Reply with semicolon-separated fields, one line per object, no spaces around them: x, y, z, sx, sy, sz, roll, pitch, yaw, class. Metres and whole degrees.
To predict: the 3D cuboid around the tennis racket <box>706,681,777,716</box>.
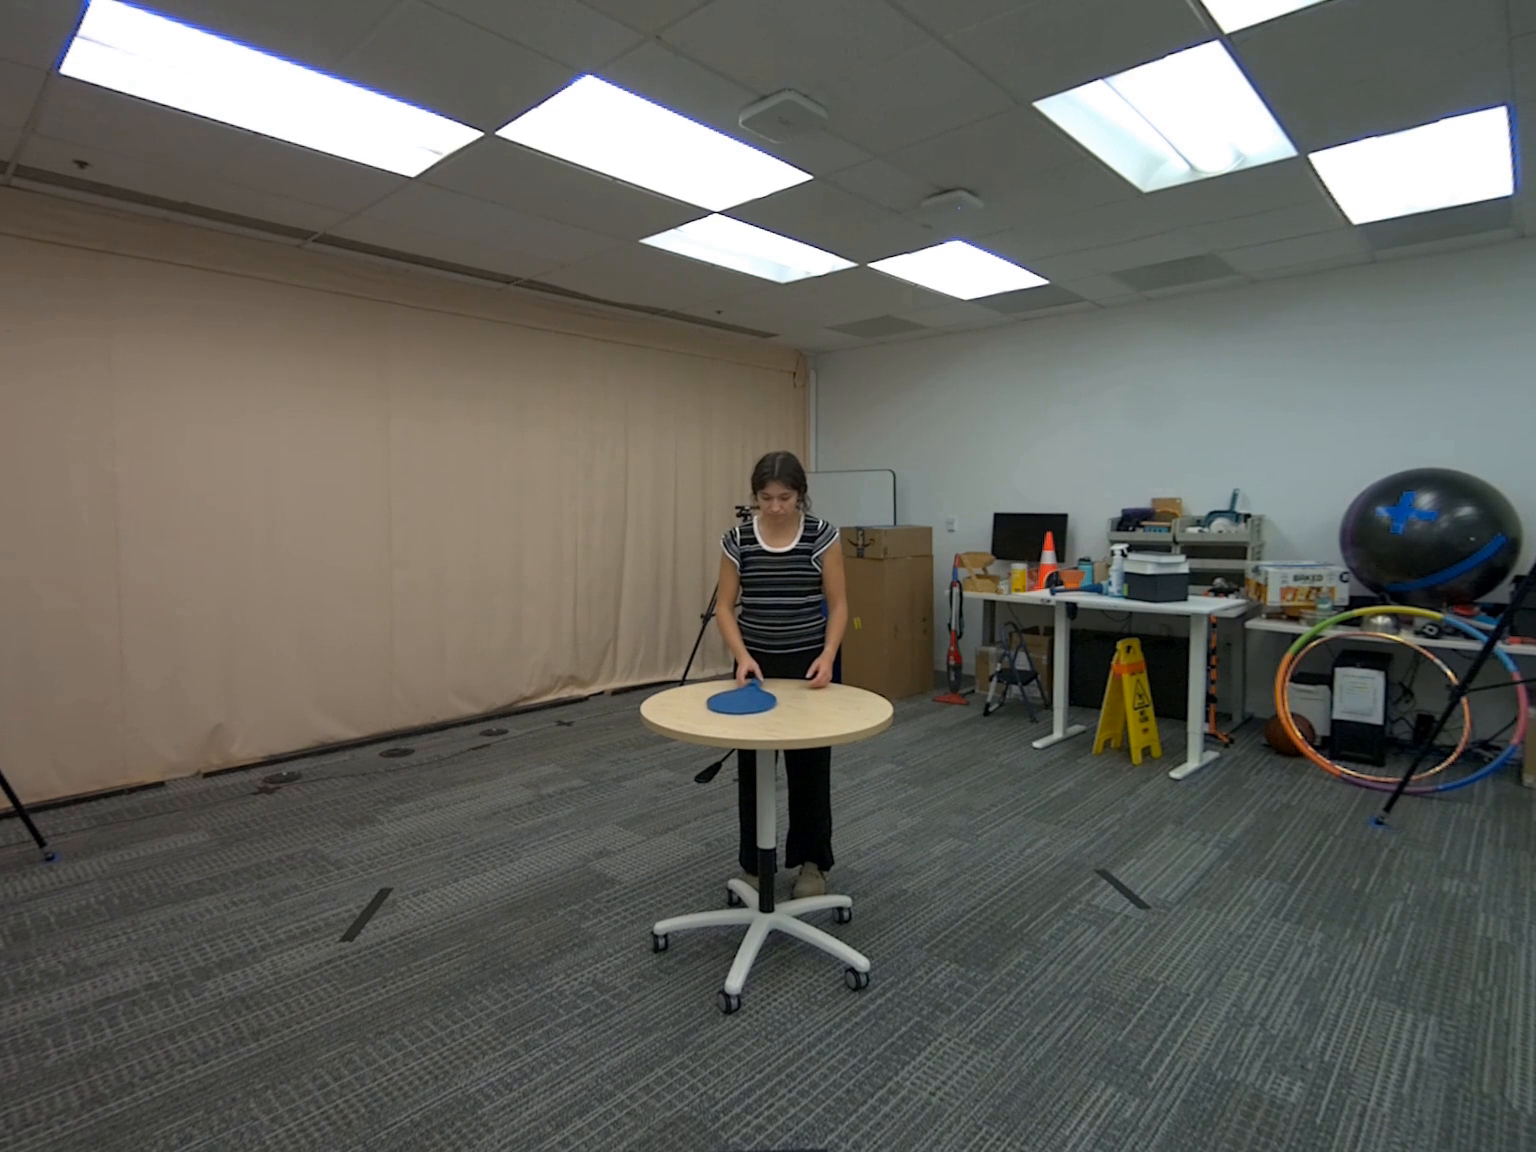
-0.074;0.381;2.663;0.216;0.031;0.430;0;7;8;tennis racket
